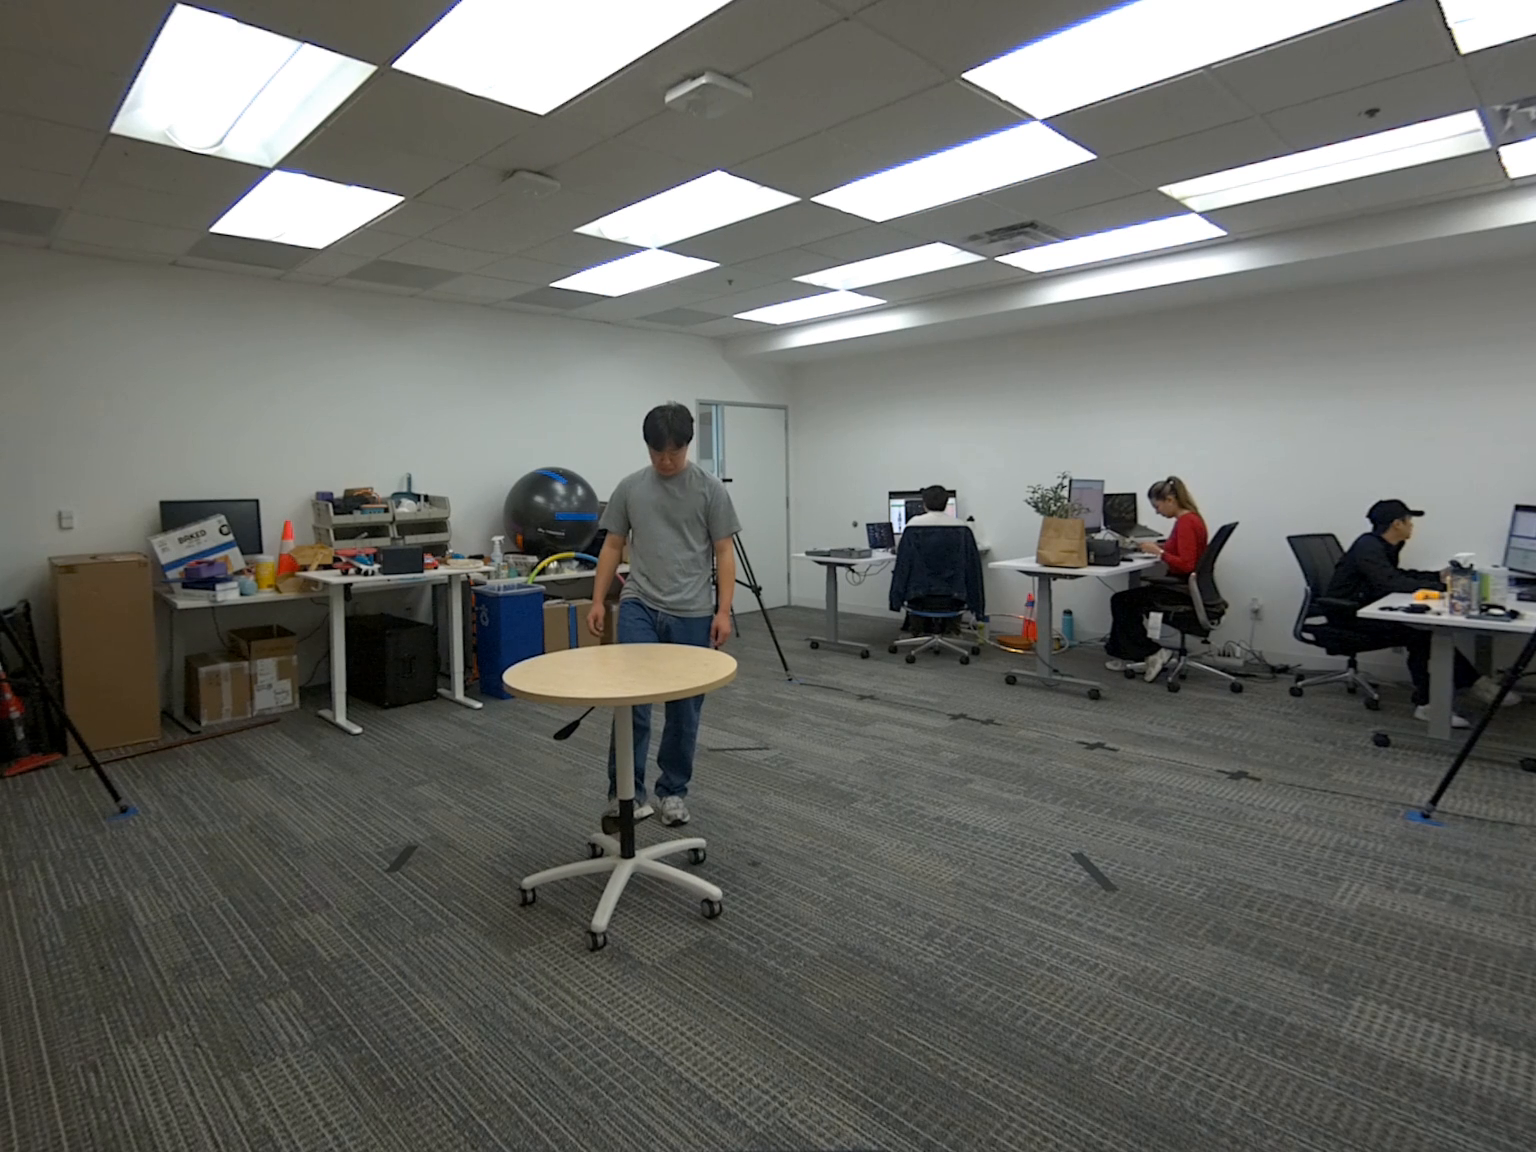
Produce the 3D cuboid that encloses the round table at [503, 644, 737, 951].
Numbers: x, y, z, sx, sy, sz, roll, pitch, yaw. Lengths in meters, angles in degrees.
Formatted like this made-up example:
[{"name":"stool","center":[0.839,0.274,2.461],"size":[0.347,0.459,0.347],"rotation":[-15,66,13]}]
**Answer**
[{"name":"round table","center":[-0.481,0.695,2.856],"size":[0.763,0.790,0.768],"rotation":[-1,5,-2]}]
